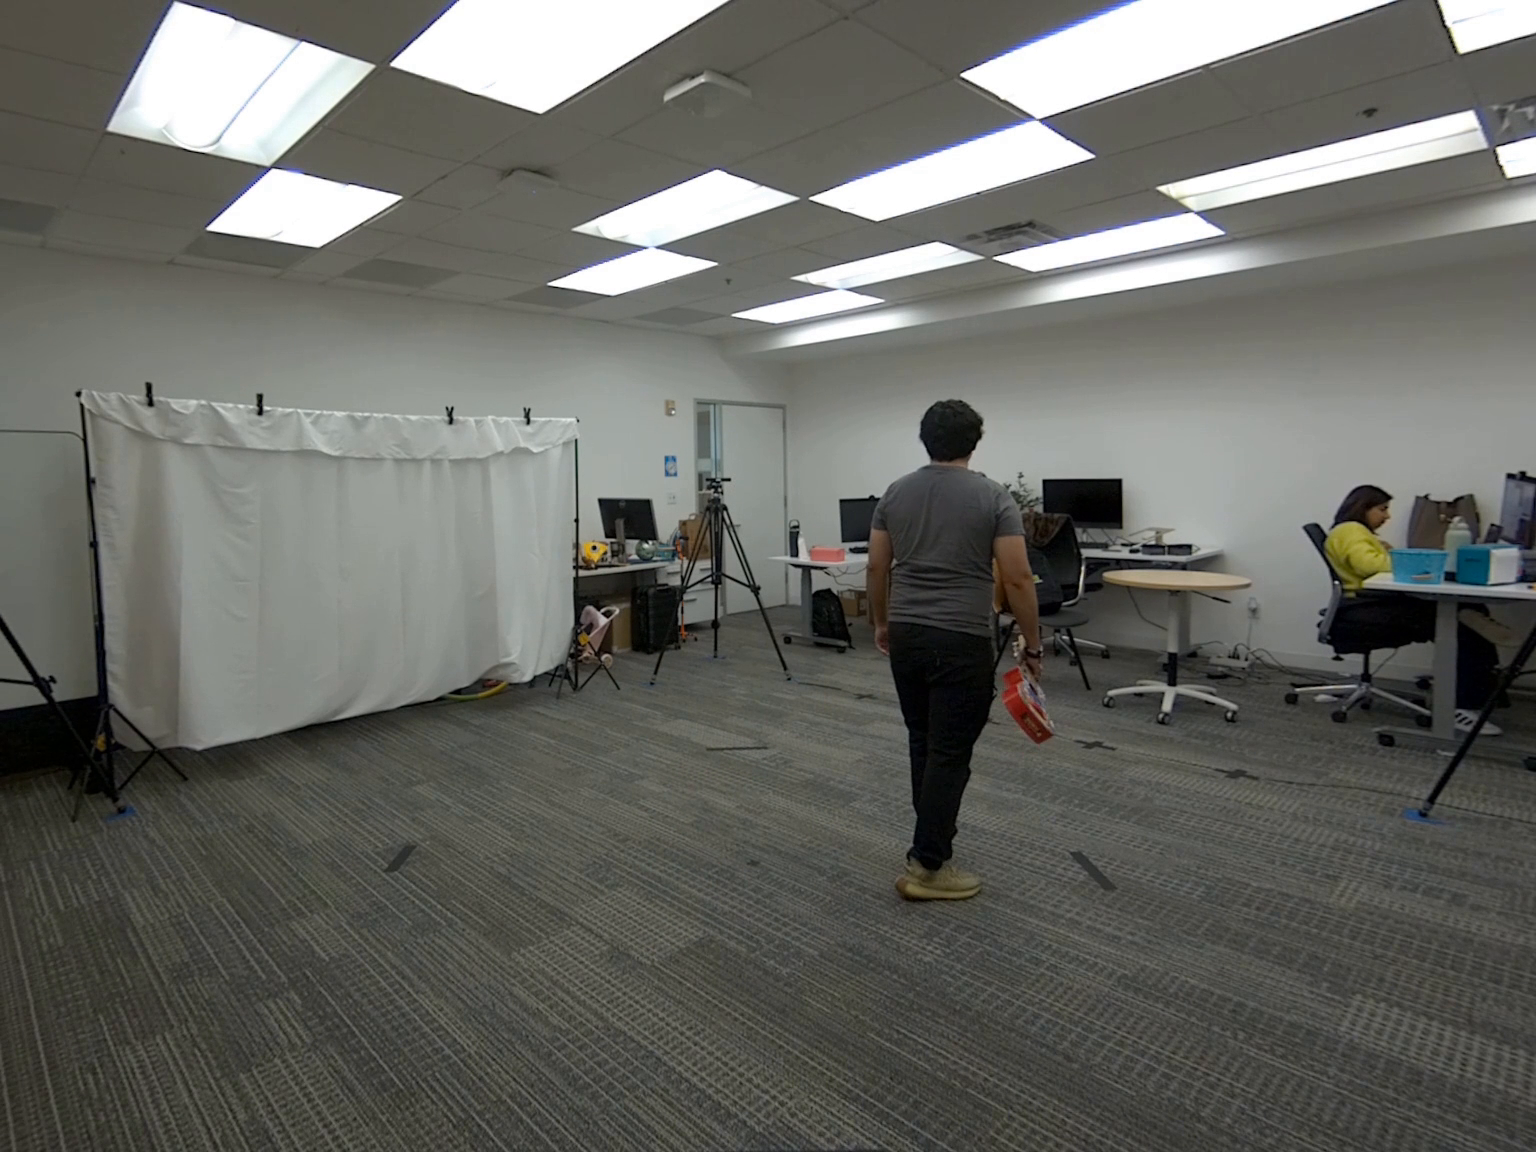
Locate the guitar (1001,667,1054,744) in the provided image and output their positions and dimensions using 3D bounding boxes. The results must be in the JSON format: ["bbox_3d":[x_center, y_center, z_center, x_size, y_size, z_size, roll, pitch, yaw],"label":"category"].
[{"bbox_3d":[0.865,0.371,2.821,0.071,0.192,0.497,-39,4,25],"label":"guitar"}]
